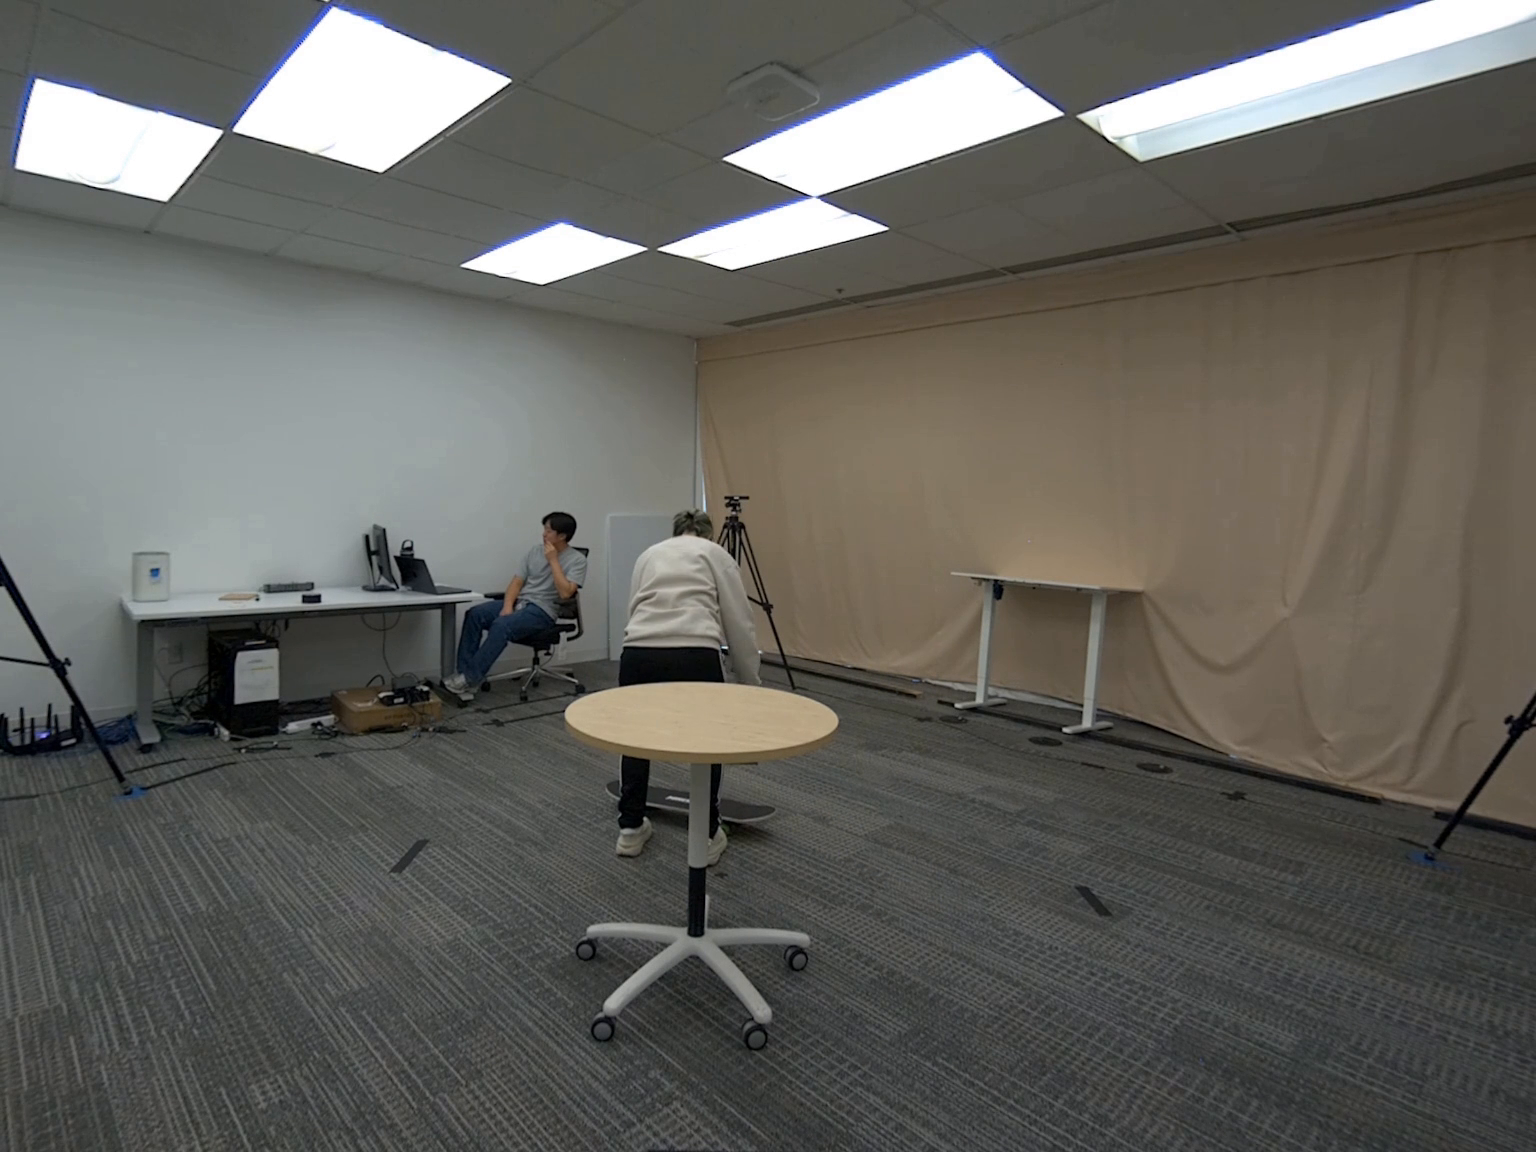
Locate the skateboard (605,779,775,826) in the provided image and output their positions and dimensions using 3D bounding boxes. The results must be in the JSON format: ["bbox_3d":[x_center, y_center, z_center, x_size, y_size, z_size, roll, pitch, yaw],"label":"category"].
[{"bbox_3d":[-0.354,0.993,3.609,0.800,0.110,0.190,4,5,23],"label":"skateboard"}]
